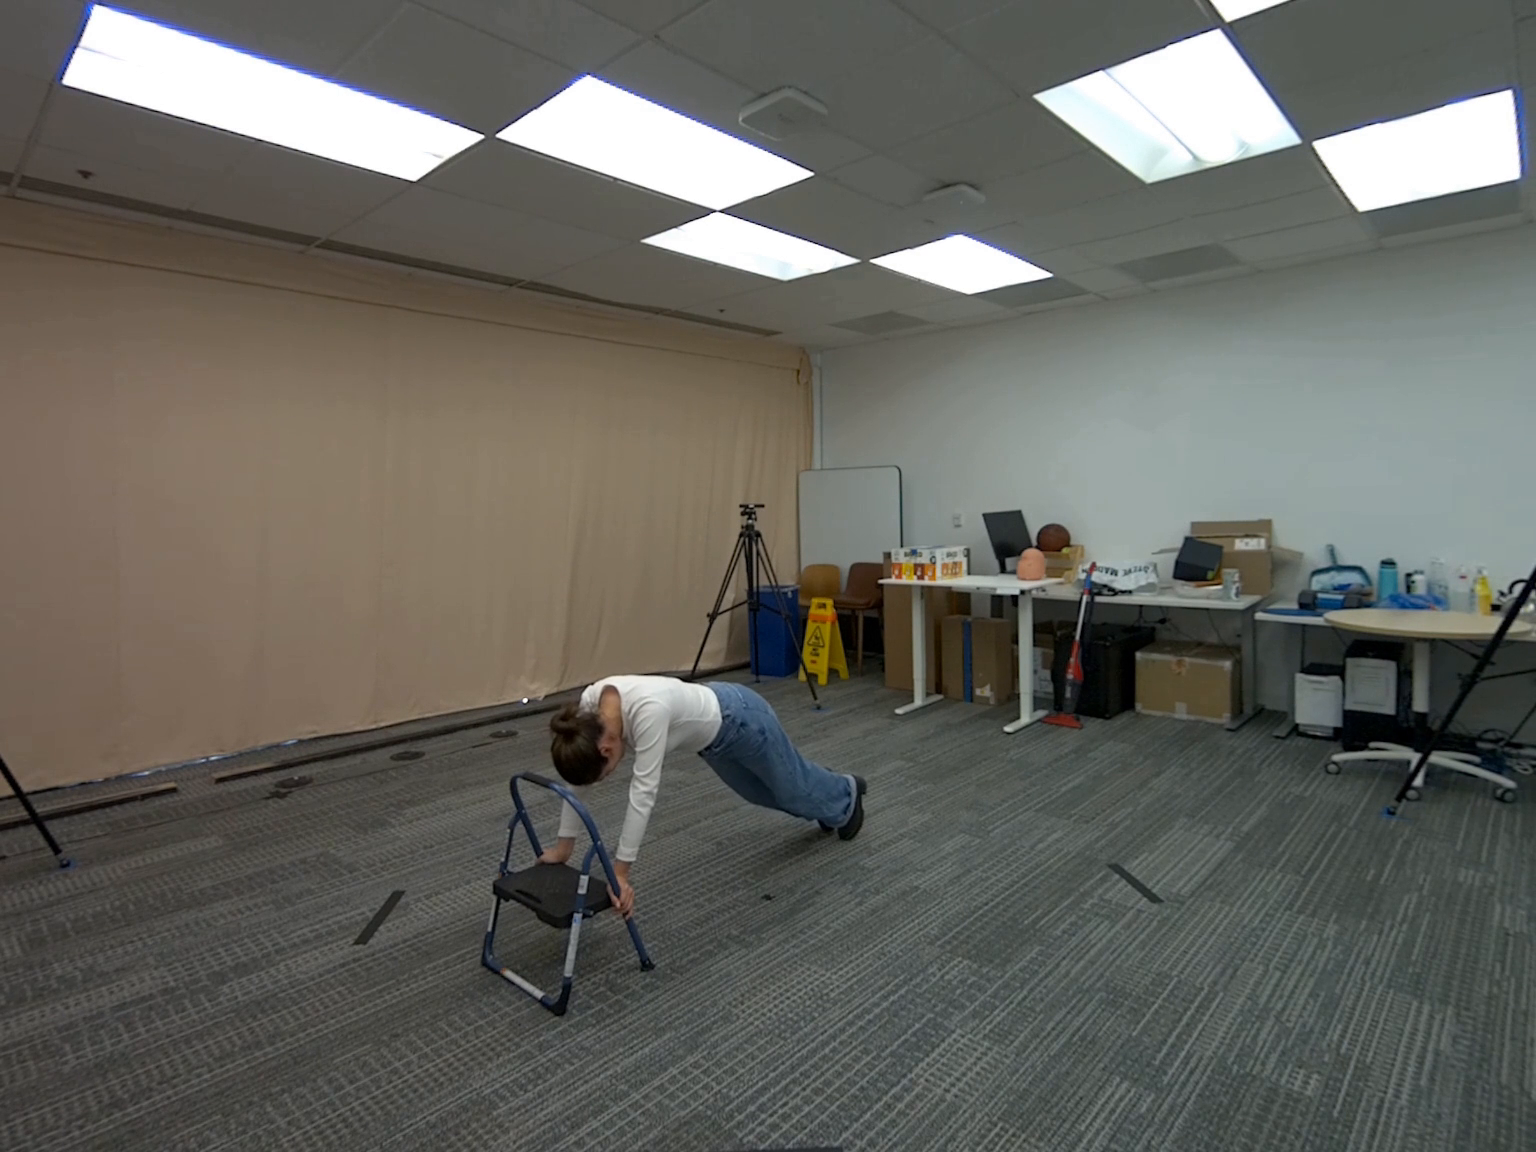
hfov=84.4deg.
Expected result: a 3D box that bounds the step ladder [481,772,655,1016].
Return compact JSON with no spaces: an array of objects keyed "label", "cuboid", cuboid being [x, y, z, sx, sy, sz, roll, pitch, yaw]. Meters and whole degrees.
[{"label":"step ladder","cuboid":[-0.622,0.890,2.548,0.445,0.605,0.339,2,5,41]}]
